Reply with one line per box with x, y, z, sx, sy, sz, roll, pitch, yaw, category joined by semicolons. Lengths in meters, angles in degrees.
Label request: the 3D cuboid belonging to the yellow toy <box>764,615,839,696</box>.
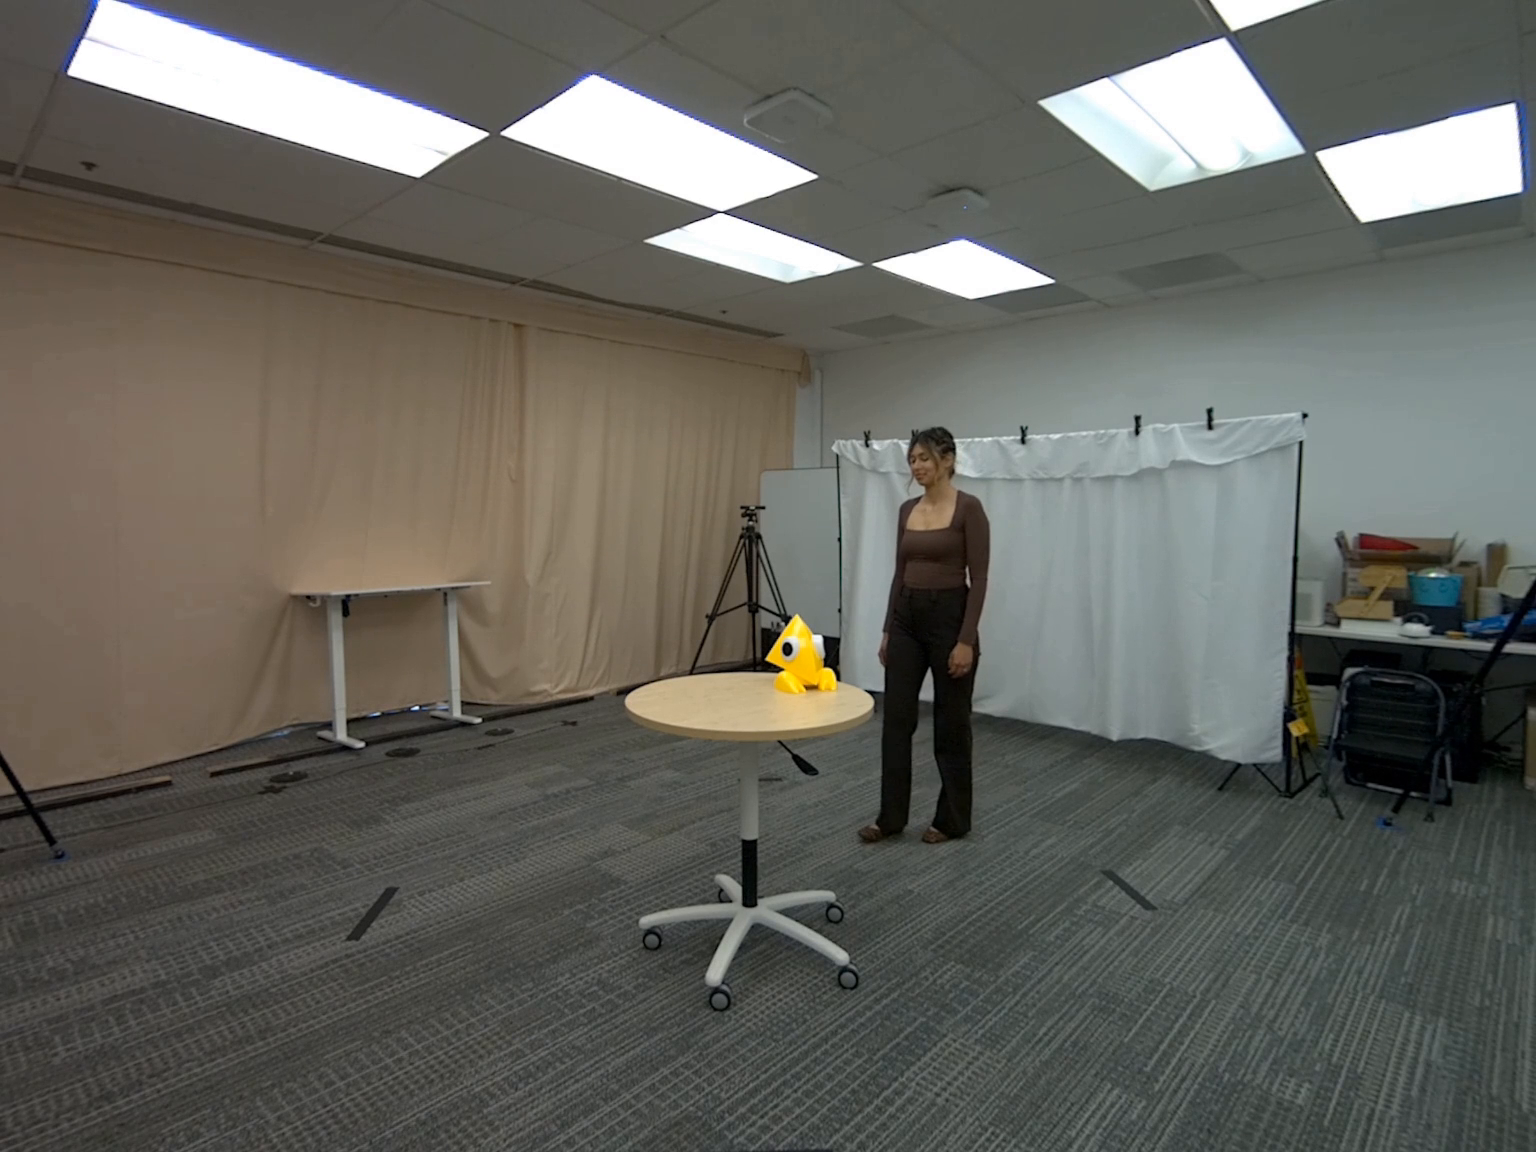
0.121;0.251;2.759;0.201;0.230;0.197;-2;4;-19;yellow toy
